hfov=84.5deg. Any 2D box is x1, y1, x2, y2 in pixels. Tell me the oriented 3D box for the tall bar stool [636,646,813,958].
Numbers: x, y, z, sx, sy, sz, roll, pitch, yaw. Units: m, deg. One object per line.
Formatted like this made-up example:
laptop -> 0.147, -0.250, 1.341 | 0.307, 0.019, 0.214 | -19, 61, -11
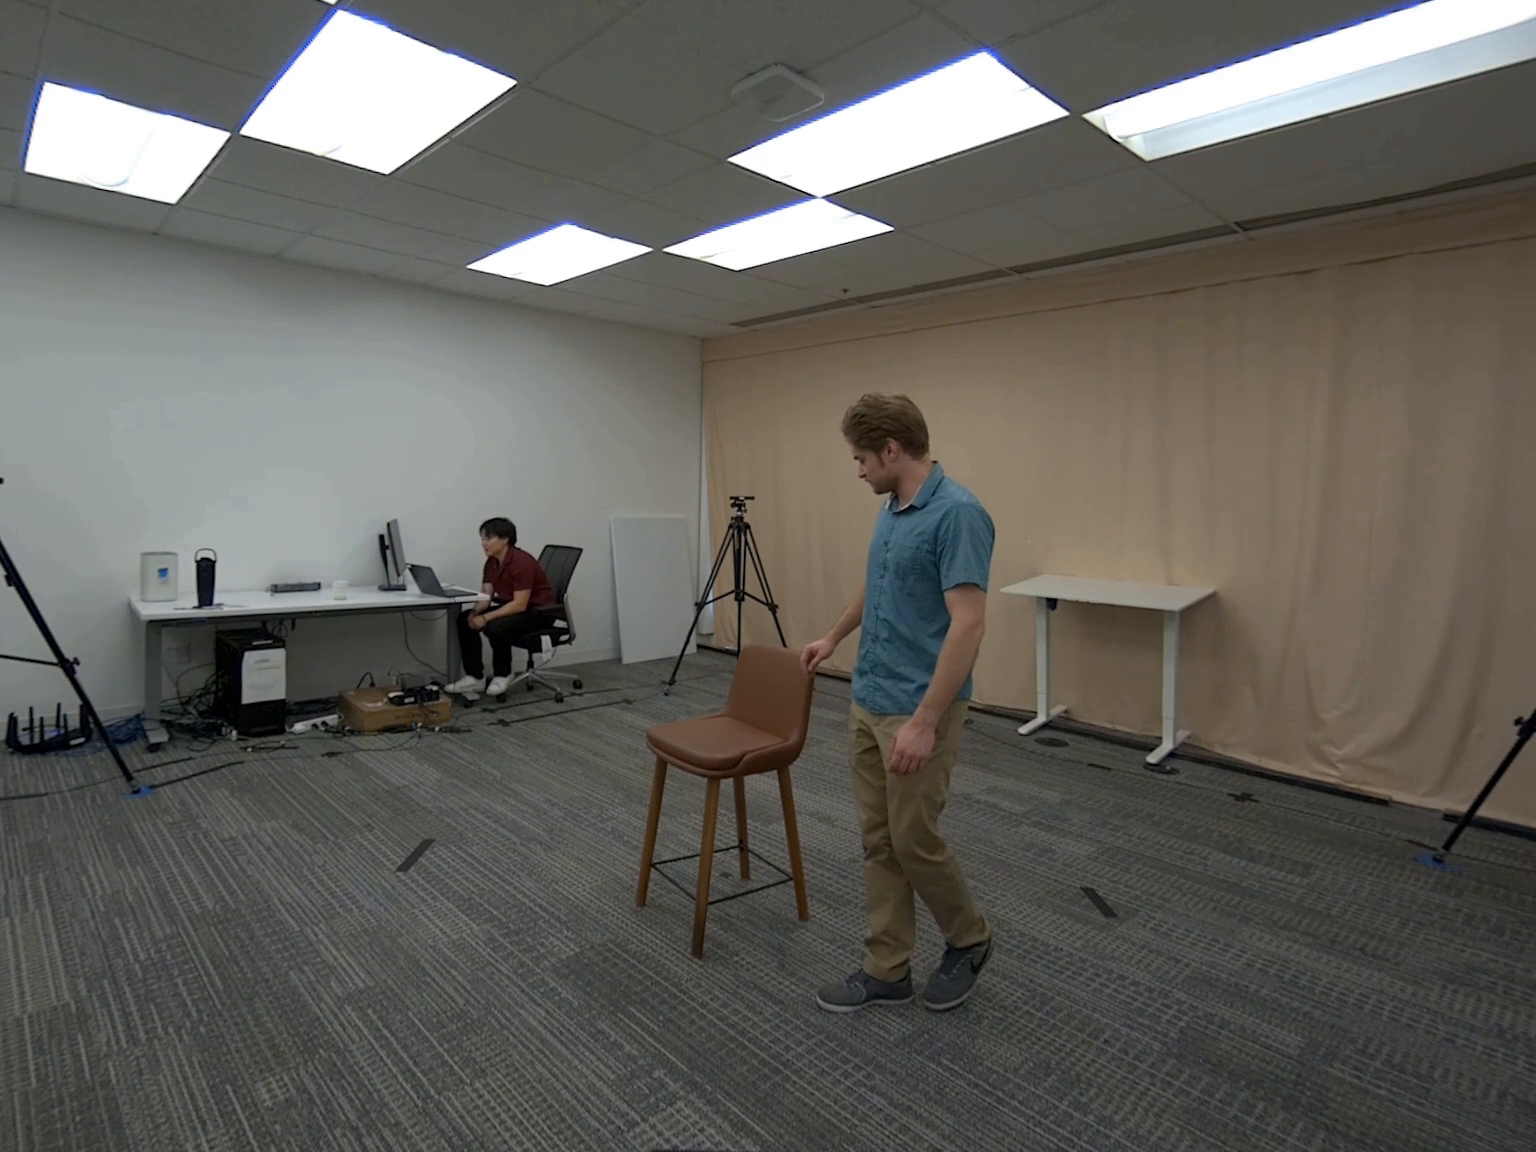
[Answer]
tall bar stool -> -0.143, 0.699, 2.801 | 0.457, 0.888, 0.467 | 1, 3, -35
